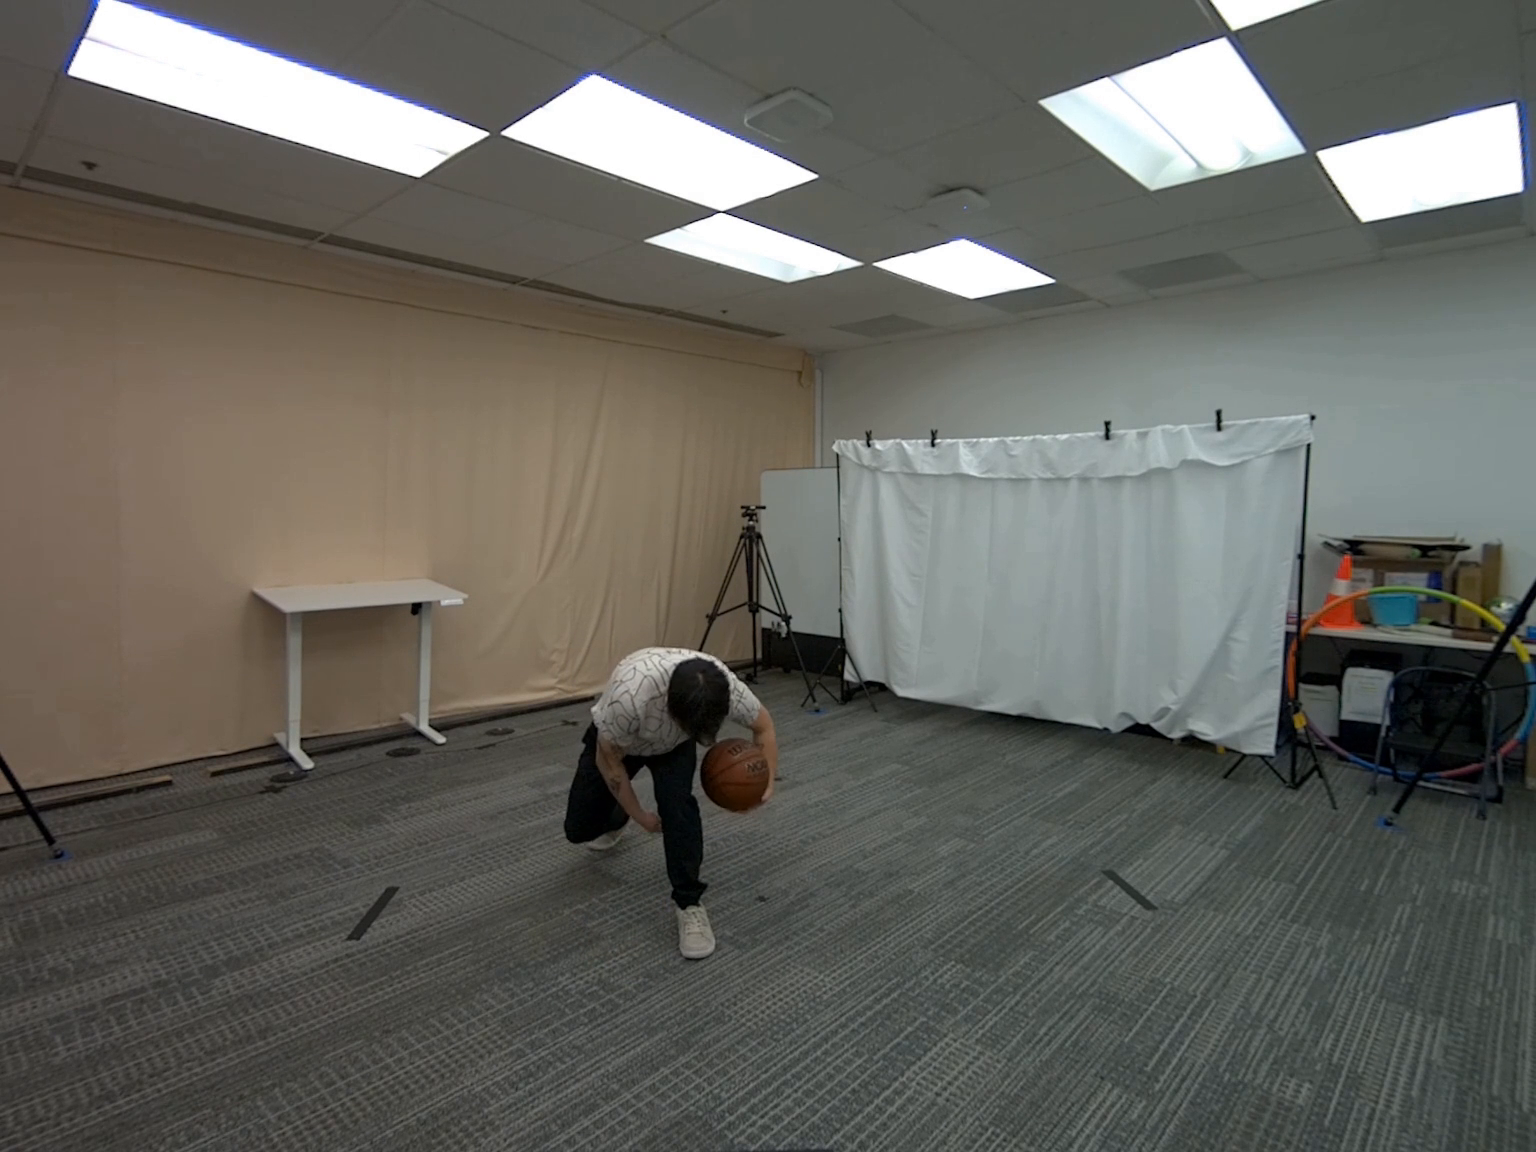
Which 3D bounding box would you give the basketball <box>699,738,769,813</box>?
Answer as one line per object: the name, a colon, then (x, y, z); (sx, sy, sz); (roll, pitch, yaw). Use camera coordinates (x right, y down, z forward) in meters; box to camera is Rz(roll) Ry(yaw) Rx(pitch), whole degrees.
basketball: (-0.114, 0.679, 2.864); (0.236, 0.235, 0.237); (0, 4, -2)
